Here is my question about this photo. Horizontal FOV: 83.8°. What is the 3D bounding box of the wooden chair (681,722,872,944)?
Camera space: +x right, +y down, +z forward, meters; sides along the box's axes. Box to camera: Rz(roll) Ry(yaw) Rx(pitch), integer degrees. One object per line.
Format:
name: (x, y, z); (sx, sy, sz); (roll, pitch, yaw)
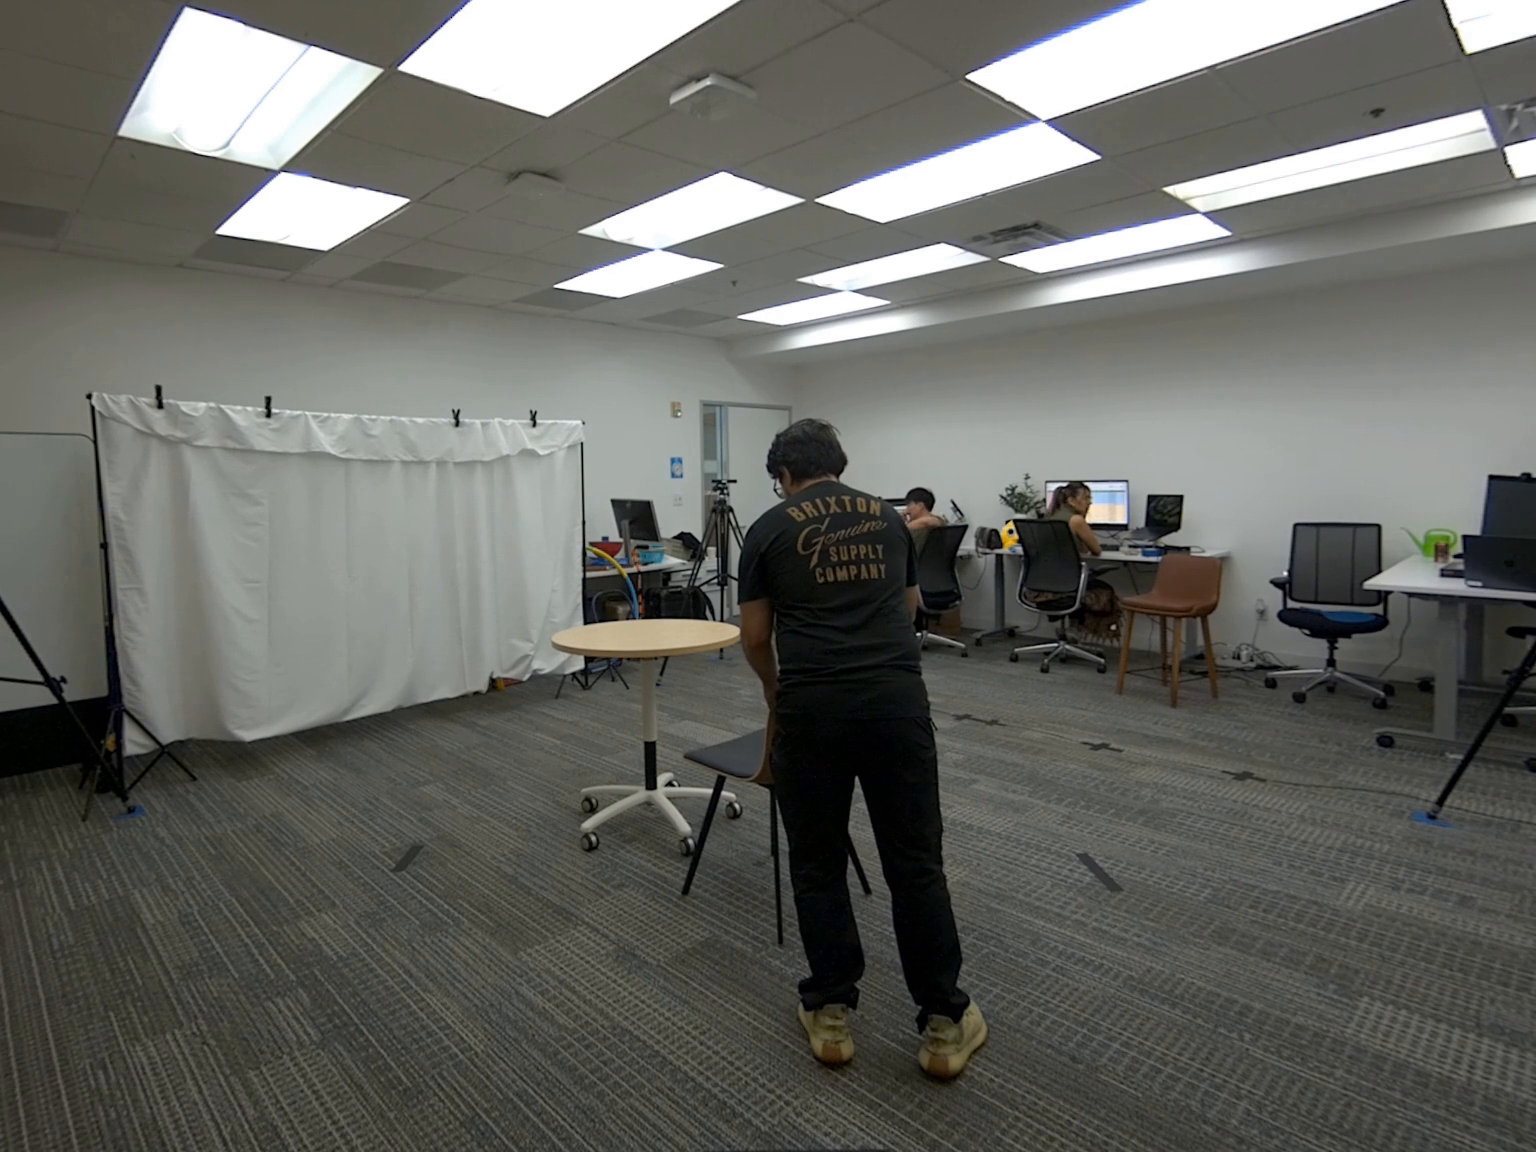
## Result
wooden chair: (0.021, 0.648, 2.849); (0.541, 0.872, 0.465); (10, 10, 44)
